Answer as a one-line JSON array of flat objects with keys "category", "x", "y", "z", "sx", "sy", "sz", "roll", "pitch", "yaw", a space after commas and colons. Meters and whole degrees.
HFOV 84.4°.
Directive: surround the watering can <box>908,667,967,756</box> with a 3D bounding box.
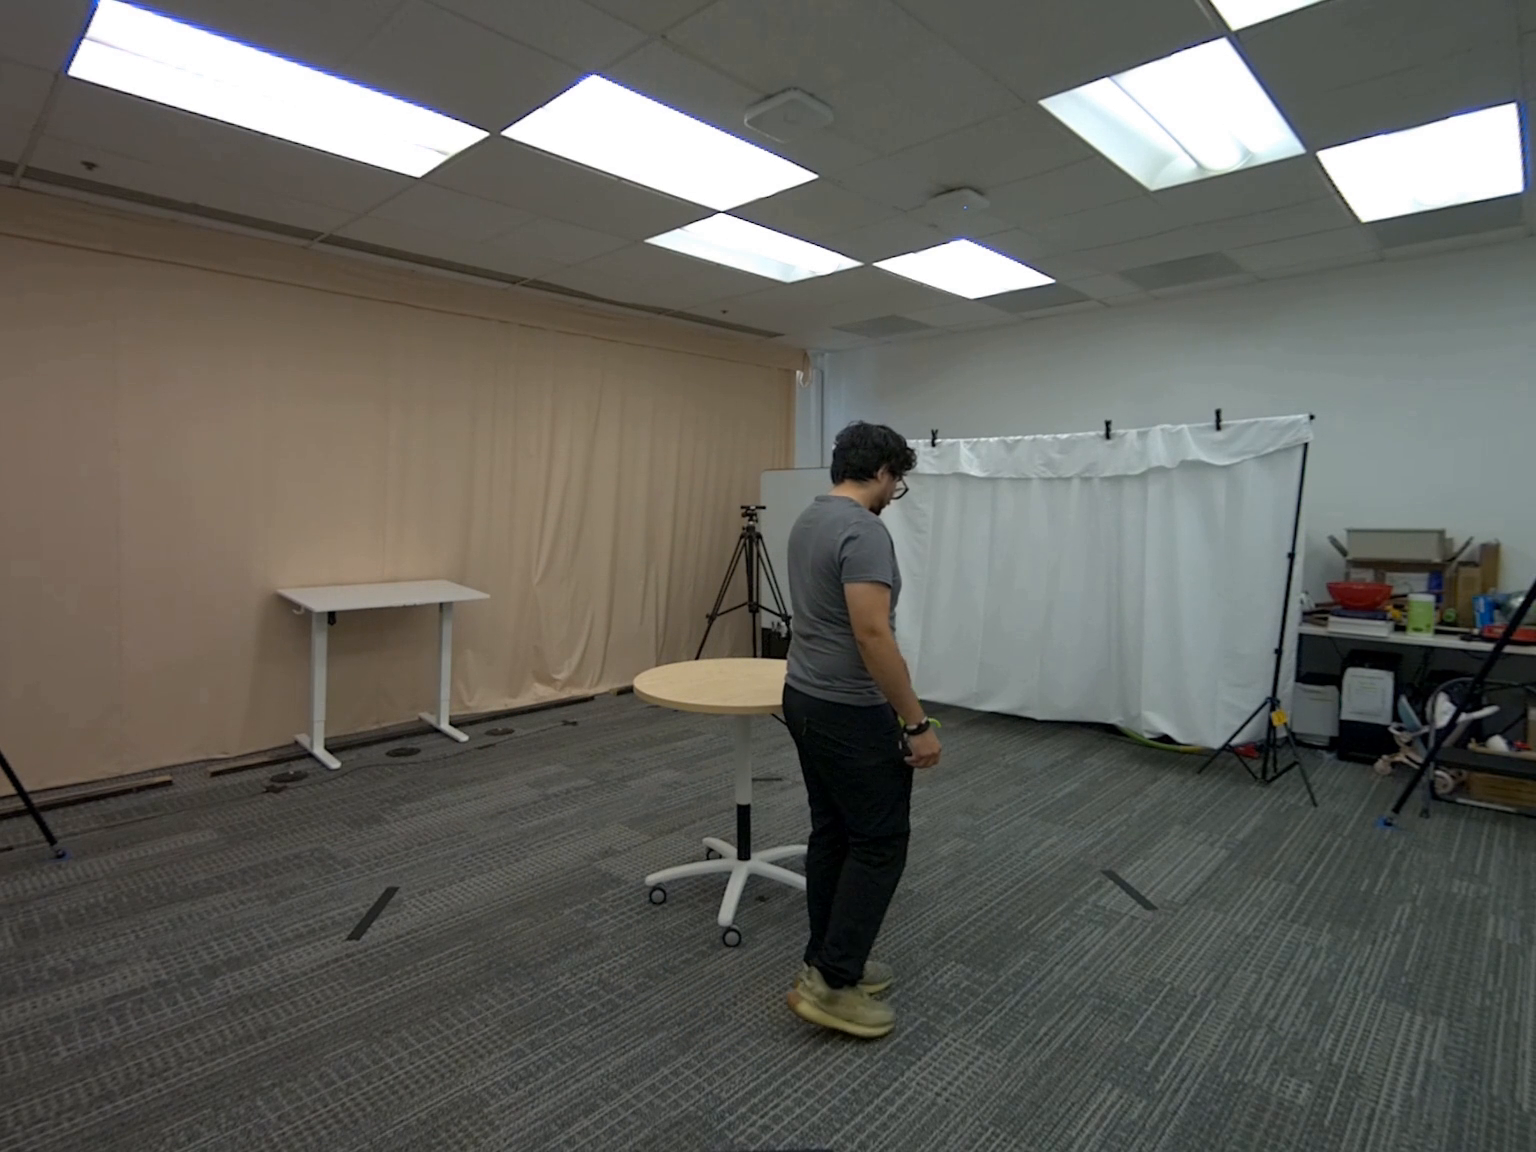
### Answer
[{"category": "watering can", "x": 0.459, "y": 0.428, "z": 2.699, "sx": 0.175, "sy": 0.281, "sz": 0.098, "roll": -46, "pitch": -9, "yaw": -38}]
